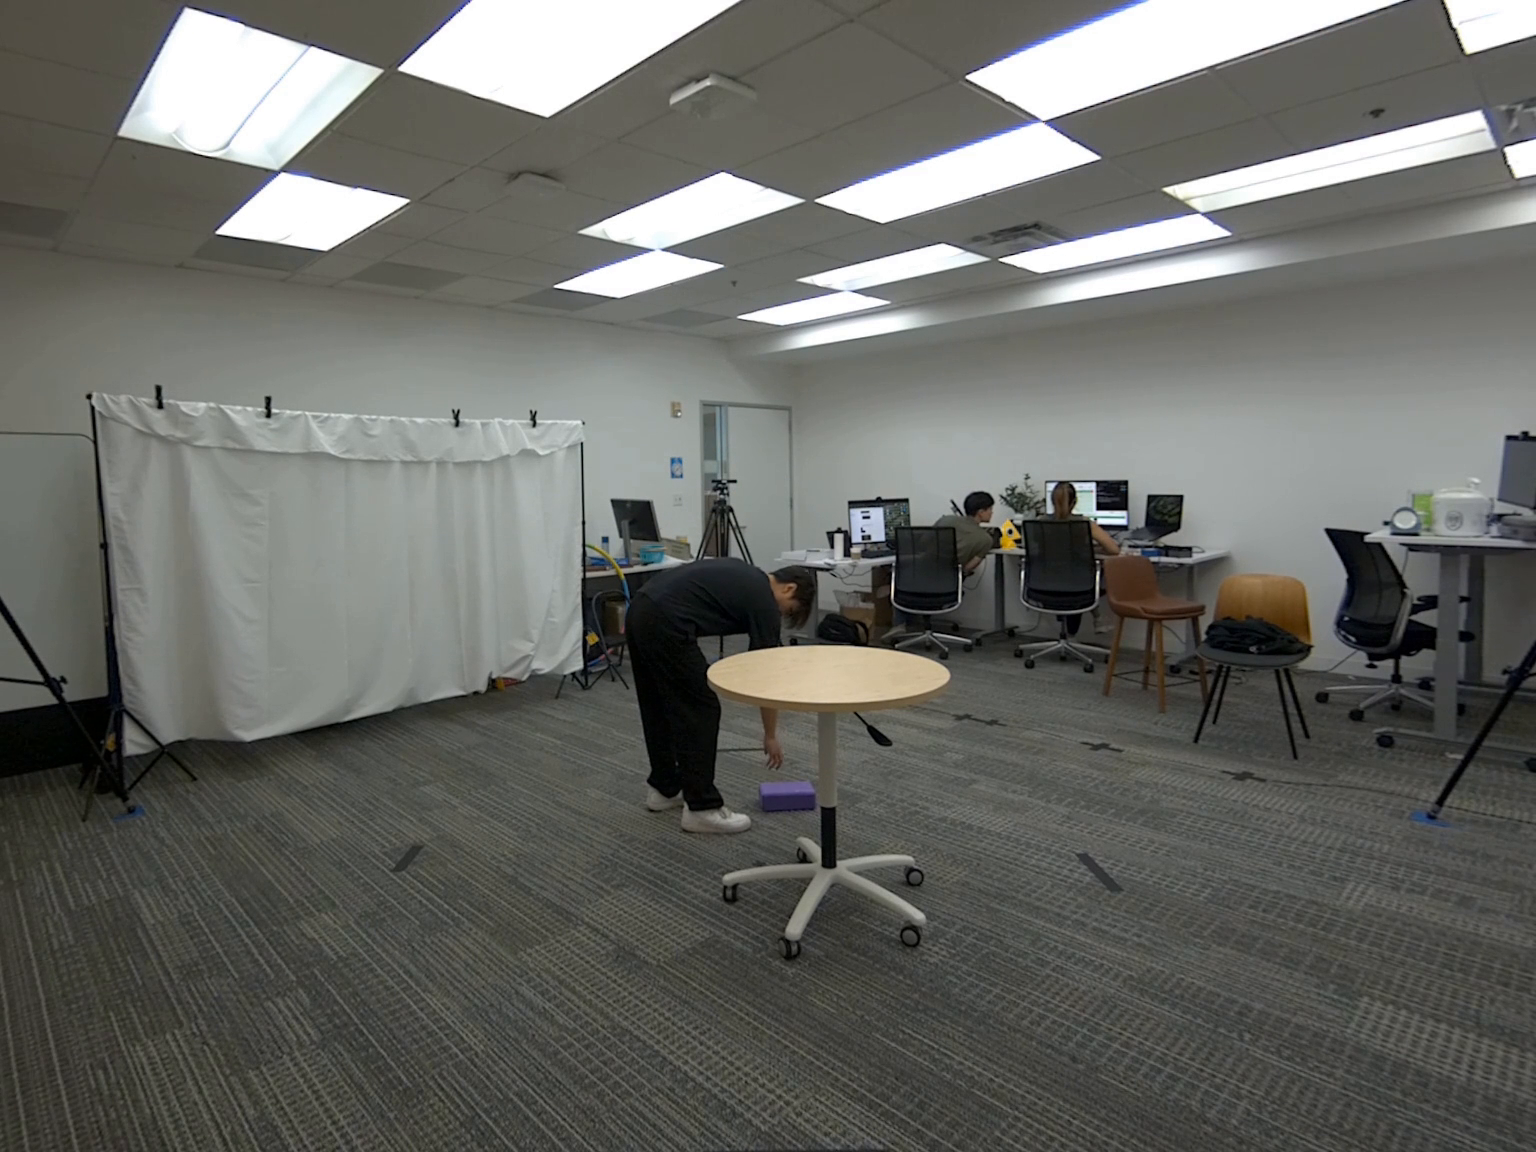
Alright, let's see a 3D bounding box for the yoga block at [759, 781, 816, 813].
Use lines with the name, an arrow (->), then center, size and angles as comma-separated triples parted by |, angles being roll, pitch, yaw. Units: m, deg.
yoga block -> 0.078, 0.941, 3.666 | 0.228, 0.076, 0.150 | -2, 6, -5
